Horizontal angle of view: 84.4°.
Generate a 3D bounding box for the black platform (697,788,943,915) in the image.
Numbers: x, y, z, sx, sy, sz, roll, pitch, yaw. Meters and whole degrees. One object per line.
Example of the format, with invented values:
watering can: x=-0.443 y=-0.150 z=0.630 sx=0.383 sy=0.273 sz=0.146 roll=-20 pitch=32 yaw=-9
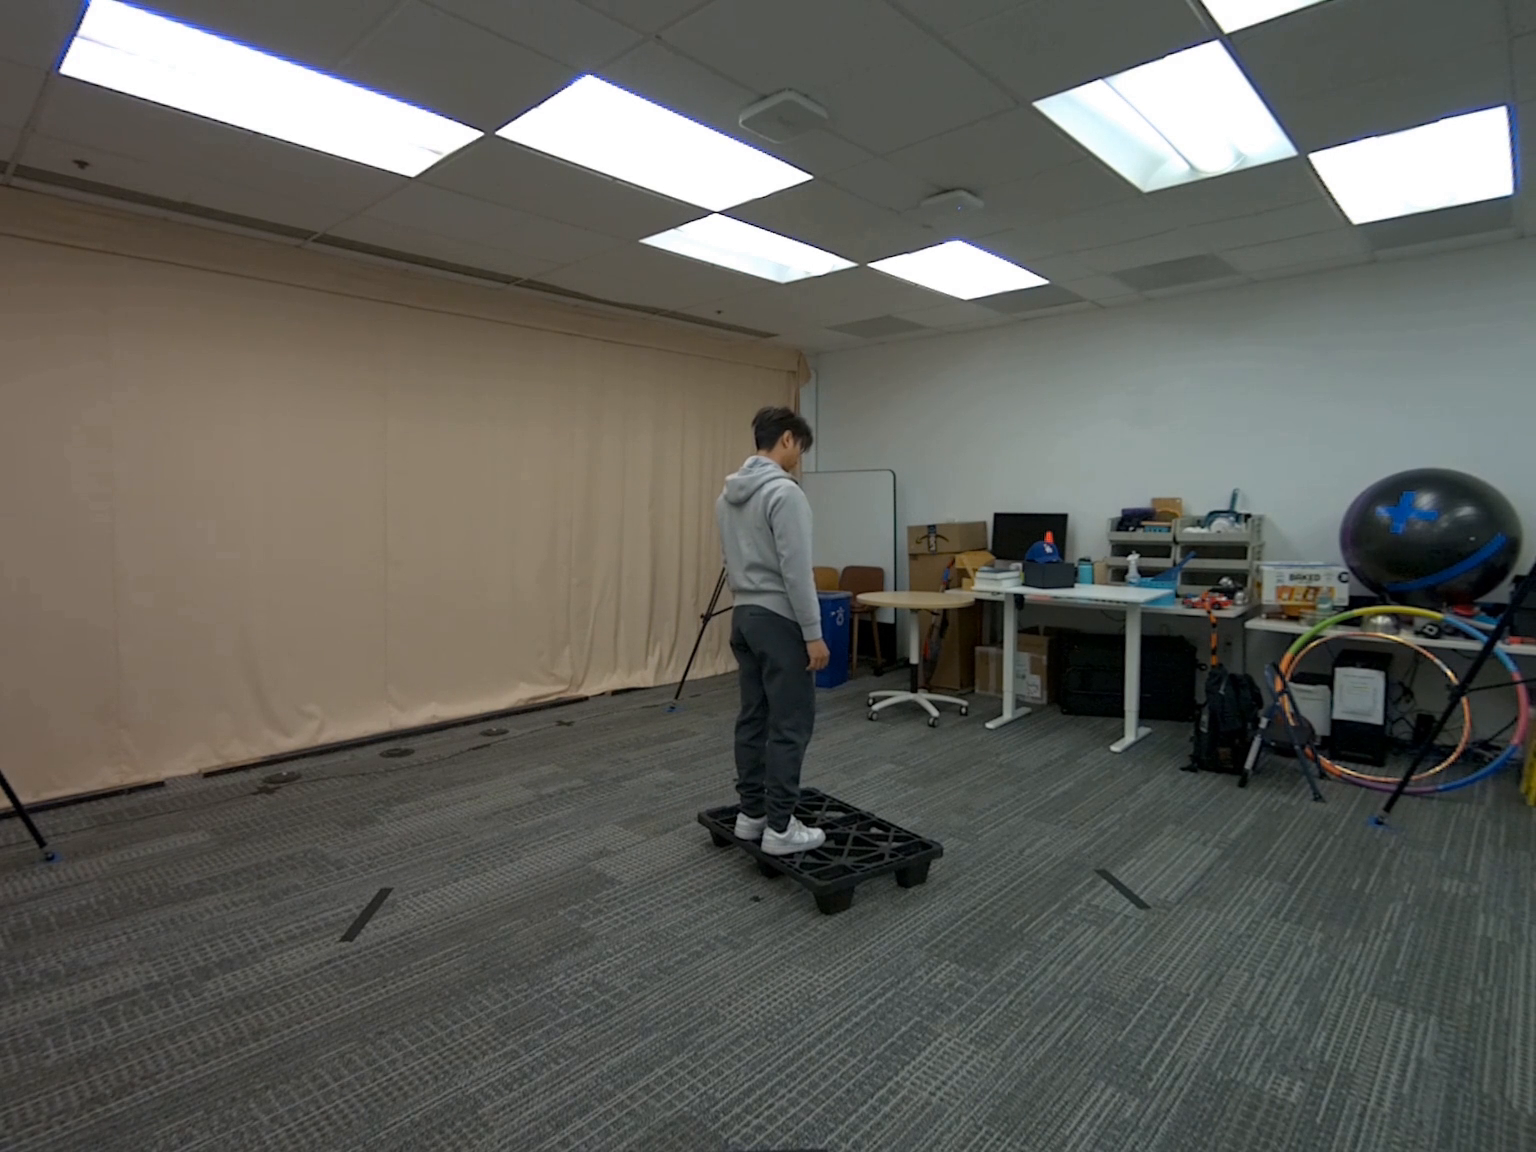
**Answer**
black platform: x=0.179 y=1.052 z=3.278 sx=0.588 sy=0.143 sz=0.831 roll=-4 pitch=6 yaw=-34
